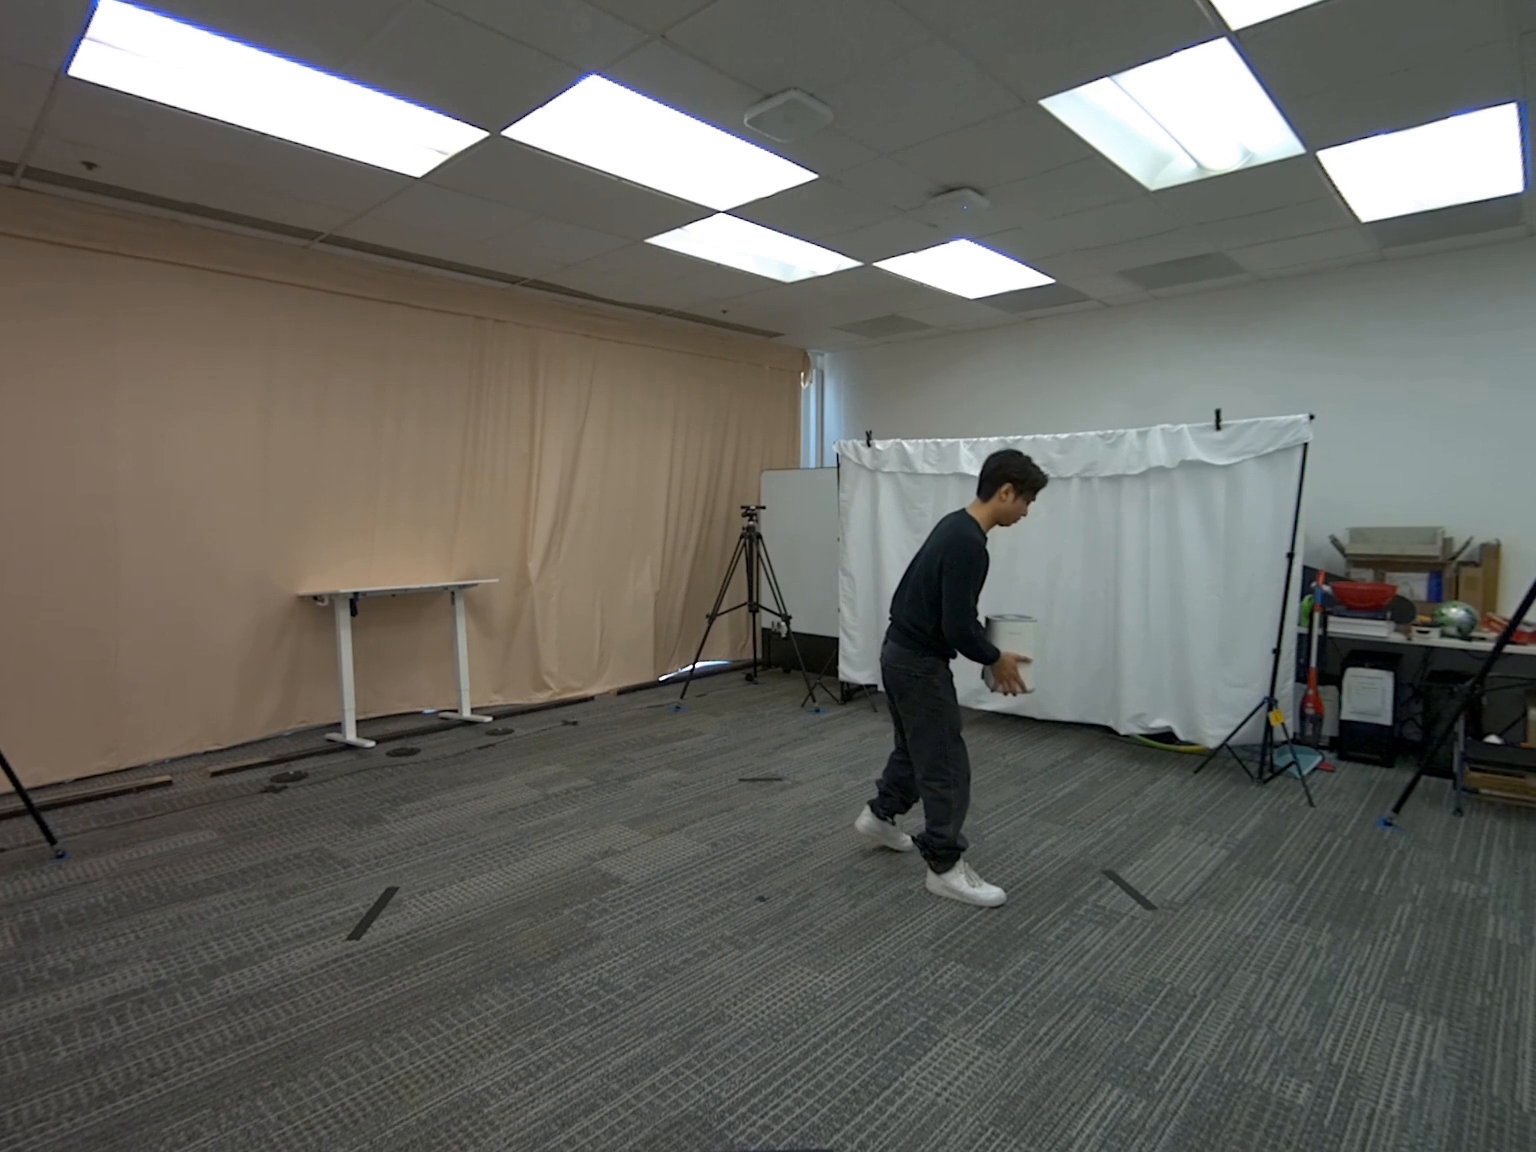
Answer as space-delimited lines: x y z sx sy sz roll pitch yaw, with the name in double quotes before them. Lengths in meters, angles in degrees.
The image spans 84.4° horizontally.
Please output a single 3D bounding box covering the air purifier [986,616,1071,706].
"air purifier" 0.915 0.295 2.990 0.168 0.264 0.176 2 13 -19
